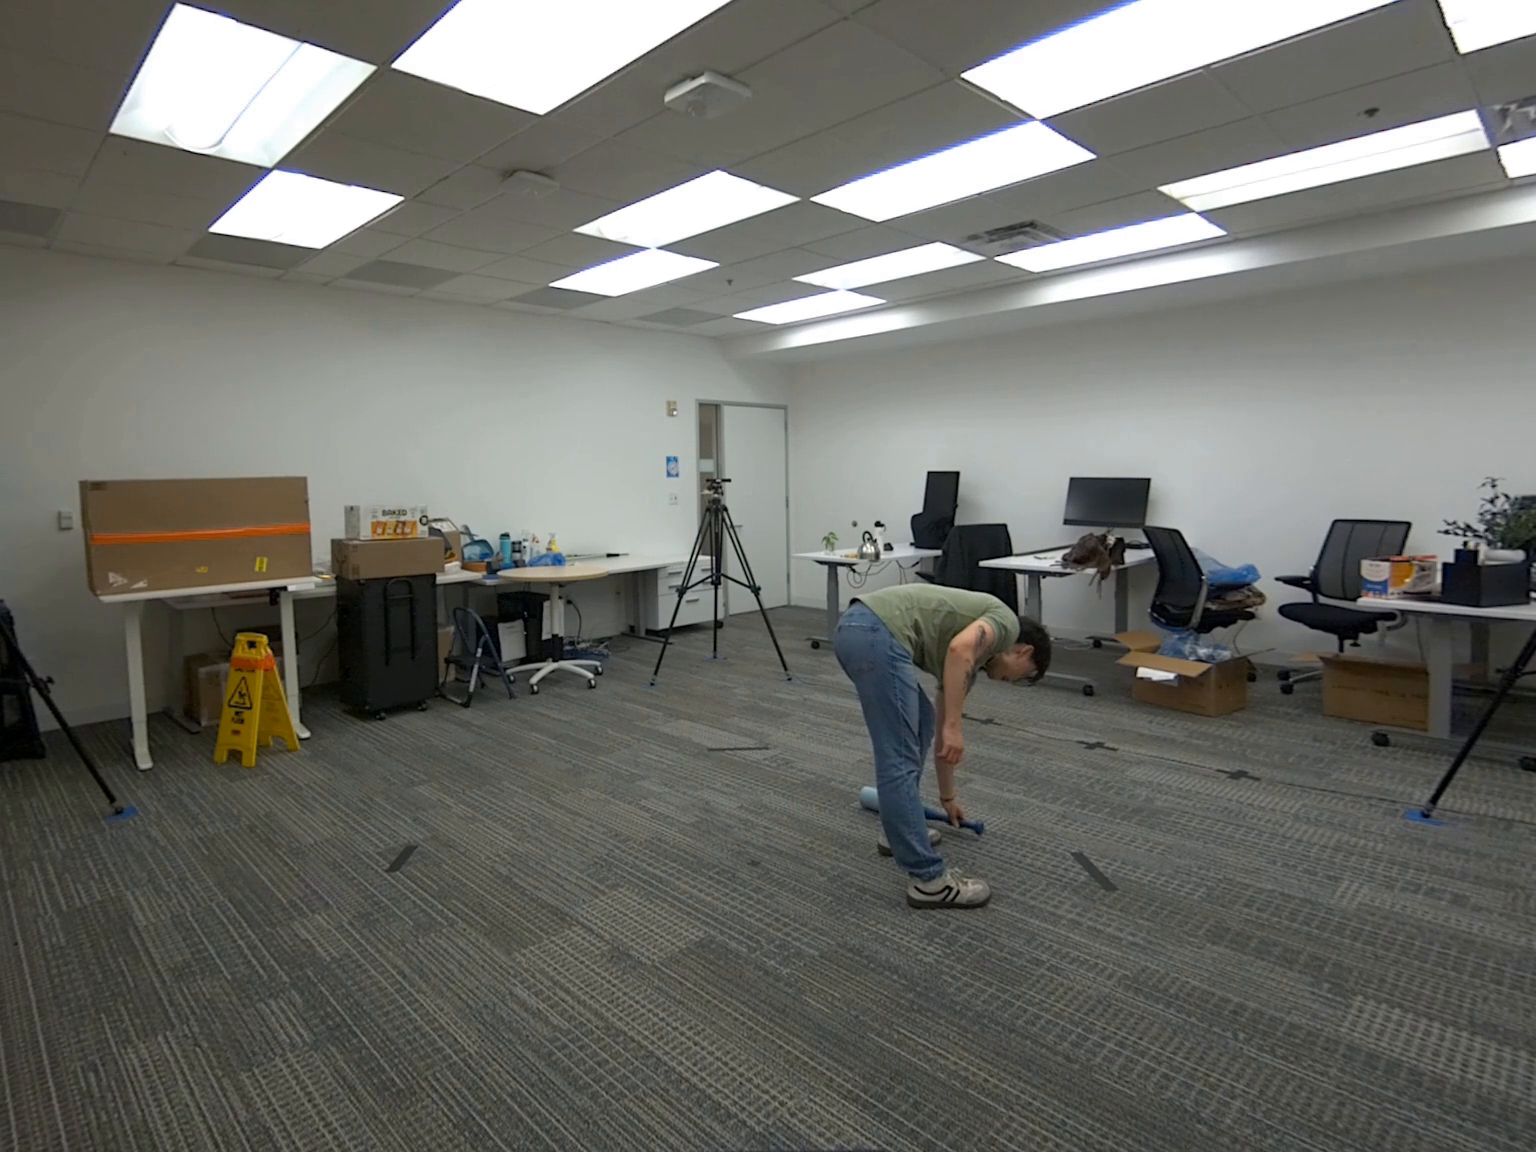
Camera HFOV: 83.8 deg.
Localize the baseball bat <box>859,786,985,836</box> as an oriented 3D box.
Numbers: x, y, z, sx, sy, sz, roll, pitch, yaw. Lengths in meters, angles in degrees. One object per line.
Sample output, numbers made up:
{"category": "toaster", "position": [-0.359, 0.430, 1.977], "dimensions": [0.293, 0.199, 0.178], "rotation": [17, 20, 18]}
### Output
{"category": "baseball bat", "position": [0.608, 0.945, 3.440], "dimensions": [0.560, 0.089, 0.087], "rotation": [5, 7, 44]}
